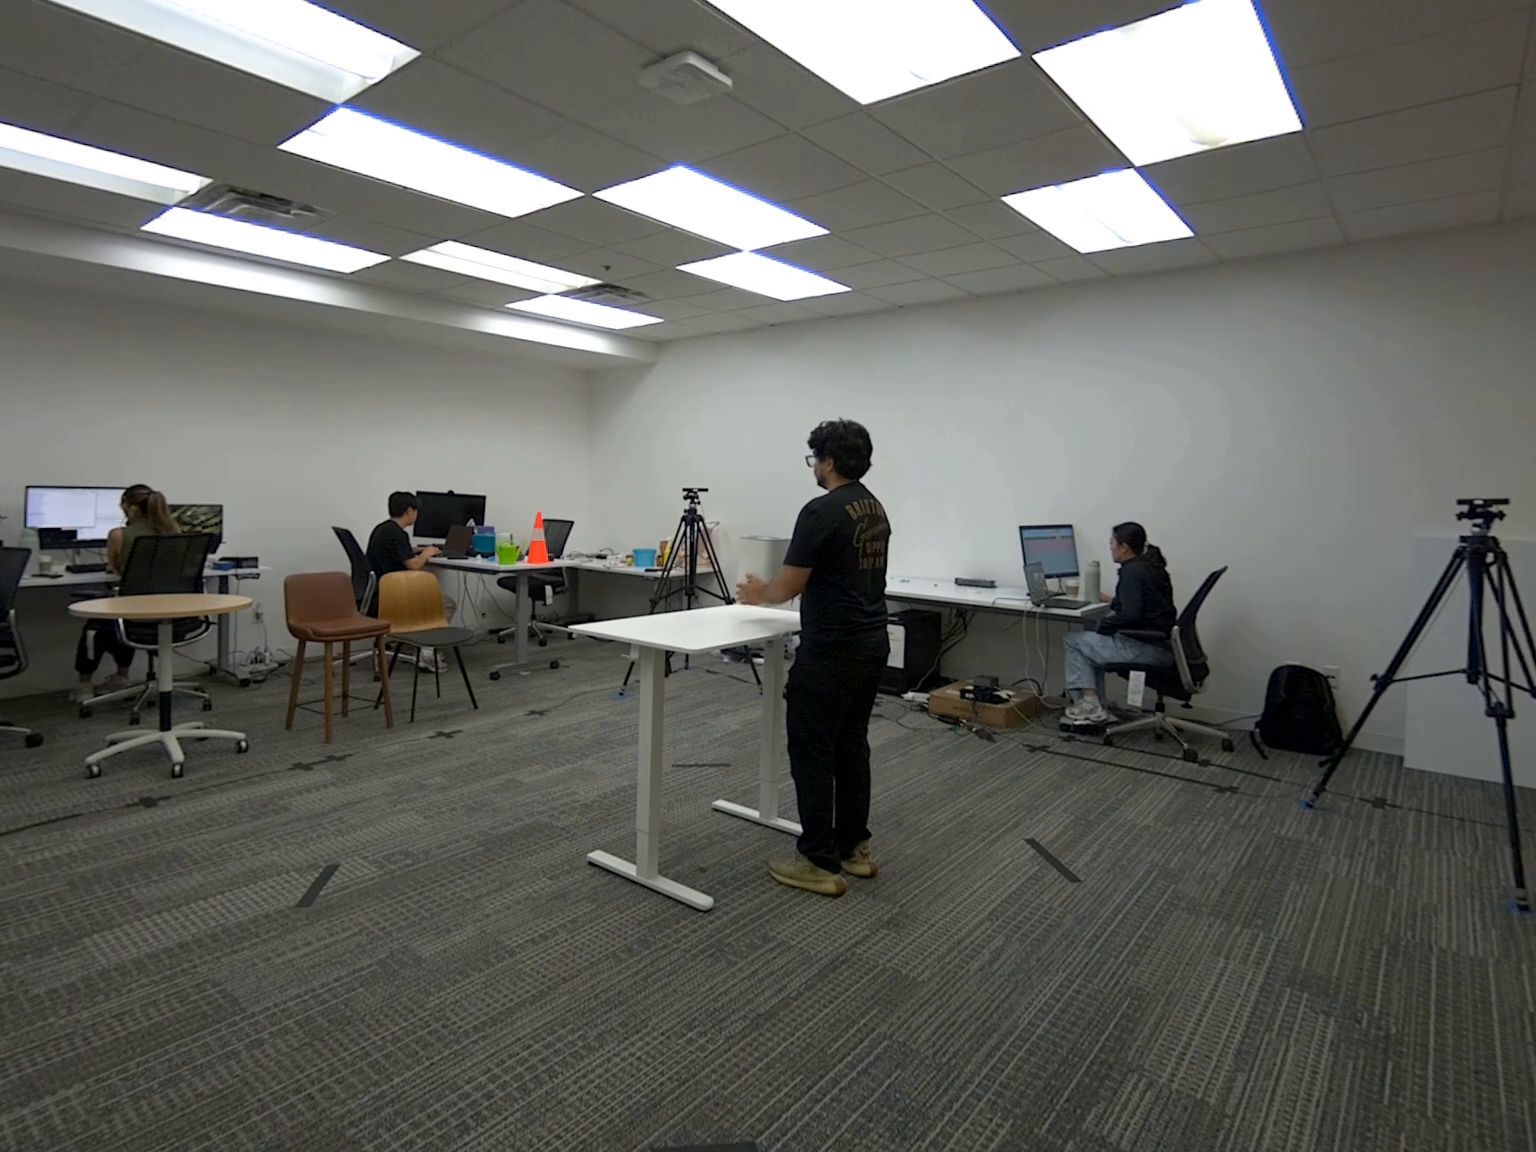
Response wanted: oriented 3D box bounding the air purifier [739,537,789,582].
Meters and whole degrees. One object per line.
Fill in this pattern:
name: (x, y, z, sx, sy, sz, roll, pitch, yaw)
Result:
air purifier: (-0.028, -0.023, 3.323, 0.177, 0.264, 0.166, 7, 5, 38)
